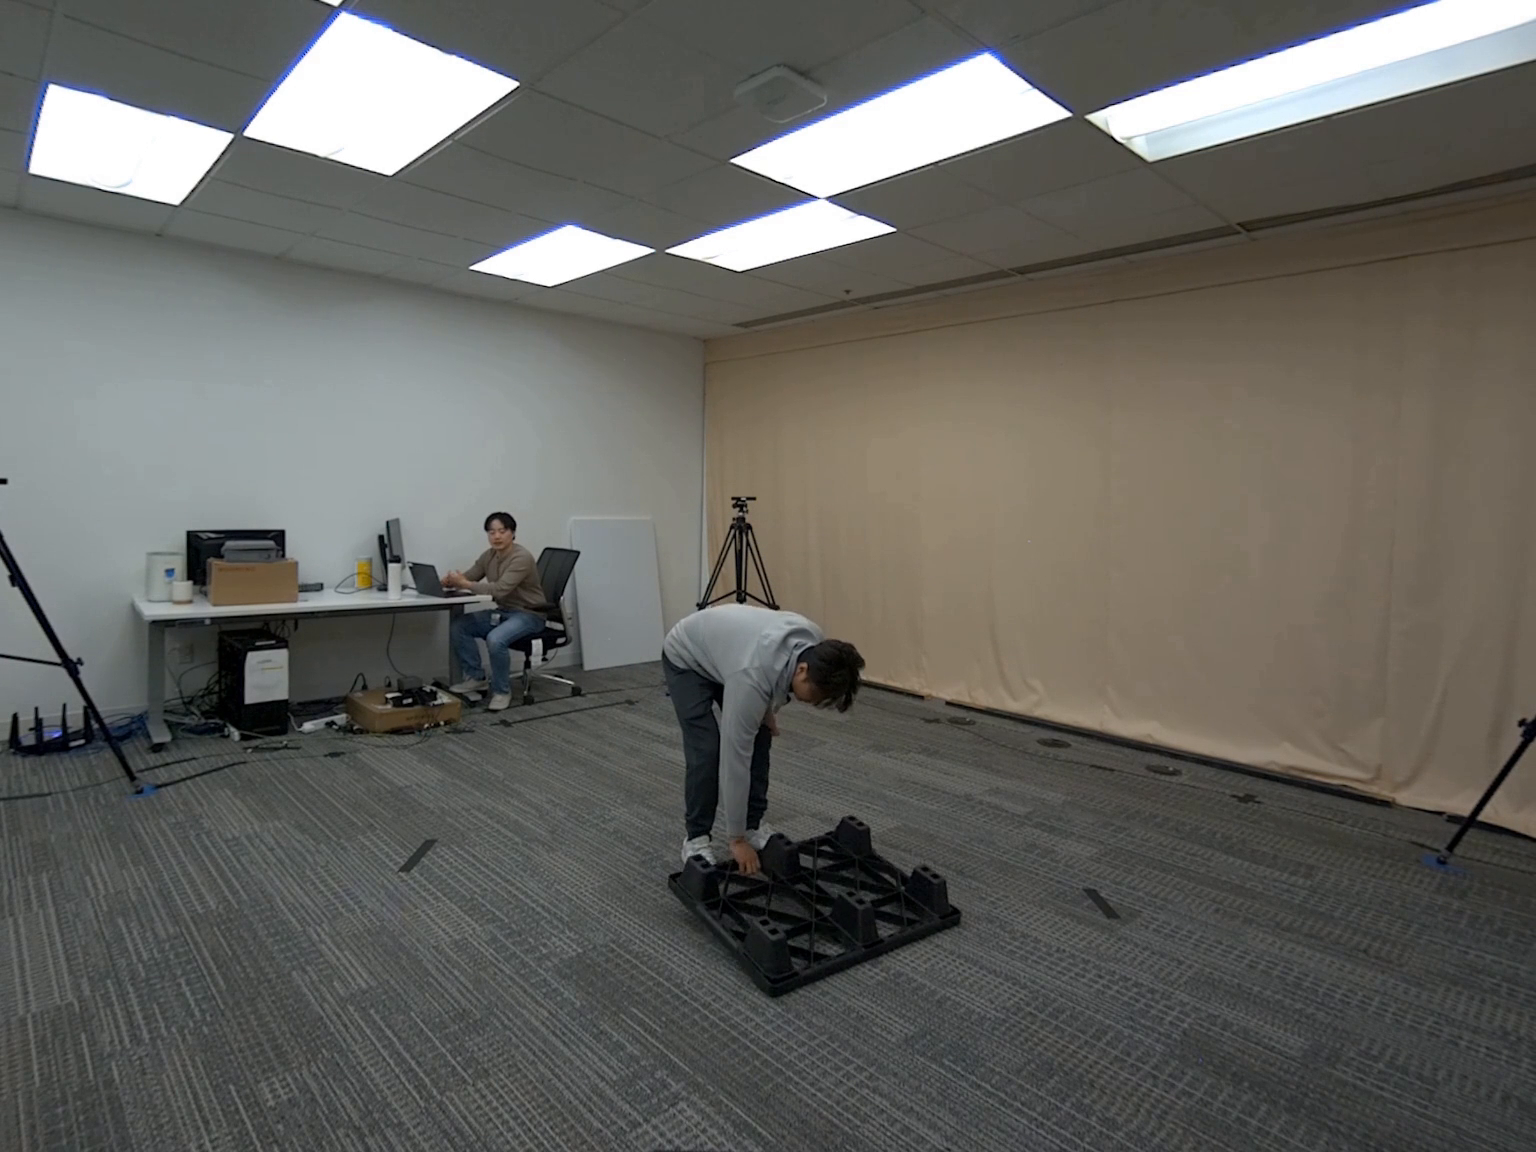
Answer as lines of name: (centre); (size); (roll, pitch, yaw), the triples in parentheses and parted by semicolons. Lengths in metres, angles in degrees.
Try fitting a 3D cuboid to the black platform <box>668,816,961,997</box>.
black platform: (0.154, 1.036, 2.786); (0.788, 0.142, 0.623); (-3, 14, -36)
